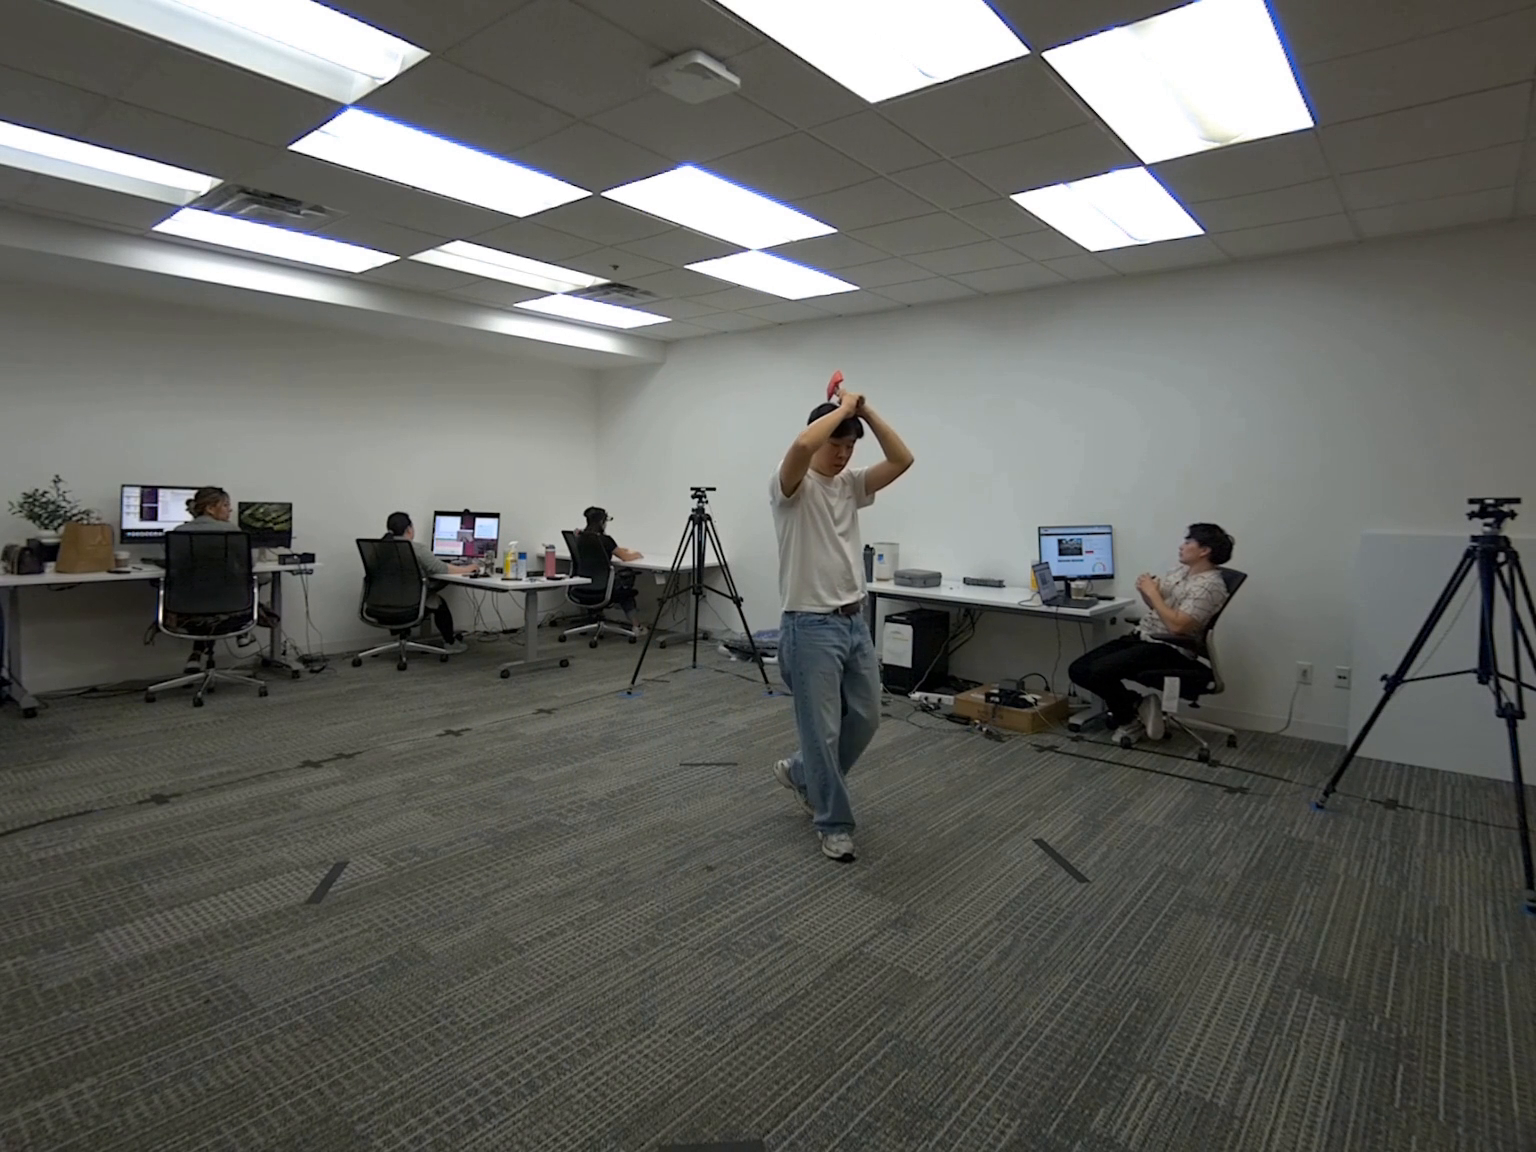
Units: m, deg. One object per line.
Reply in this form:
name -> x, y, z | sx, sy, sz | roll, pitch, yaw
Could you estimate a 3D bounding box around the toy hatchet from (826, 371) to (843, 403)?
toy hatchet -> 0.284, -0.730, 3.266 | 0.029, 0.130, 0.279 | 3, 14, -22
